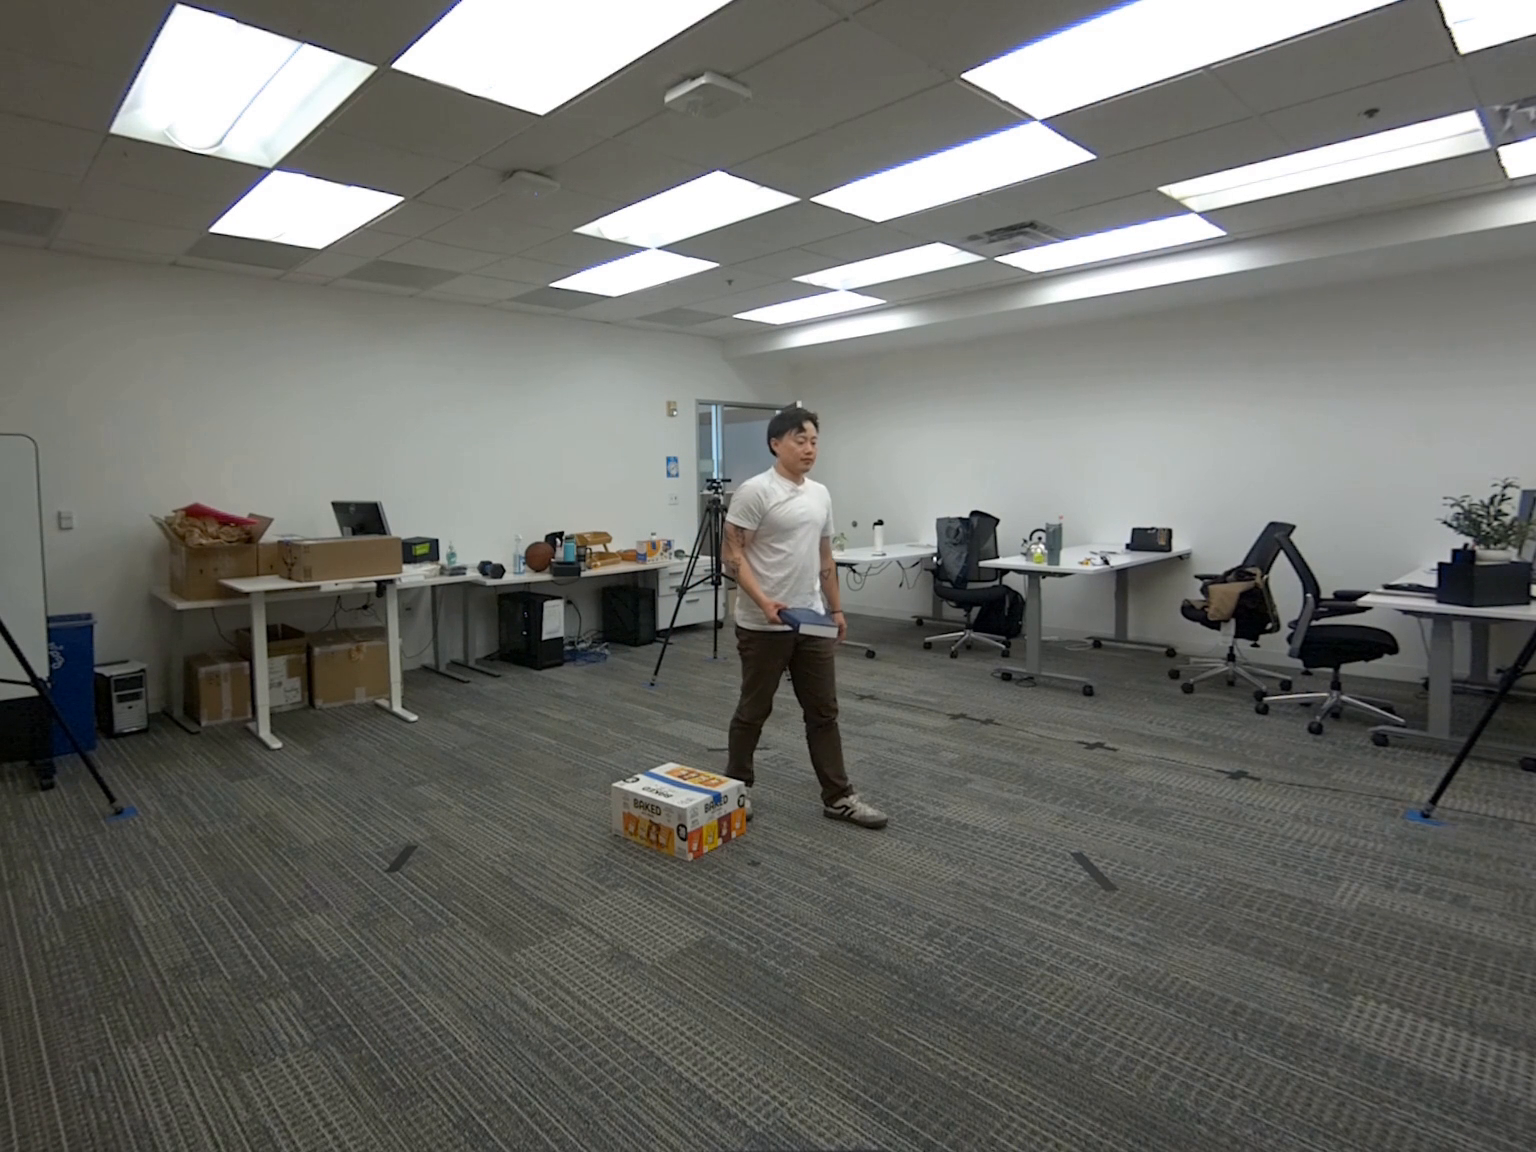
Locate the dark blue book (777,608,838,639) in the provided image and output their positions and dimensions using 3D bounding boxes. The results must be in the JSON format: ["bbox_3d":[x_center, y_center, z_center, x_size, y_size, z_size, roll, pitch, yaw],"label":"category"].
[{"bbox_3d":[0.156,0.170,3.175,0.160,0.045,0.251,7,9,-20],"label":"dark blue book"}]
